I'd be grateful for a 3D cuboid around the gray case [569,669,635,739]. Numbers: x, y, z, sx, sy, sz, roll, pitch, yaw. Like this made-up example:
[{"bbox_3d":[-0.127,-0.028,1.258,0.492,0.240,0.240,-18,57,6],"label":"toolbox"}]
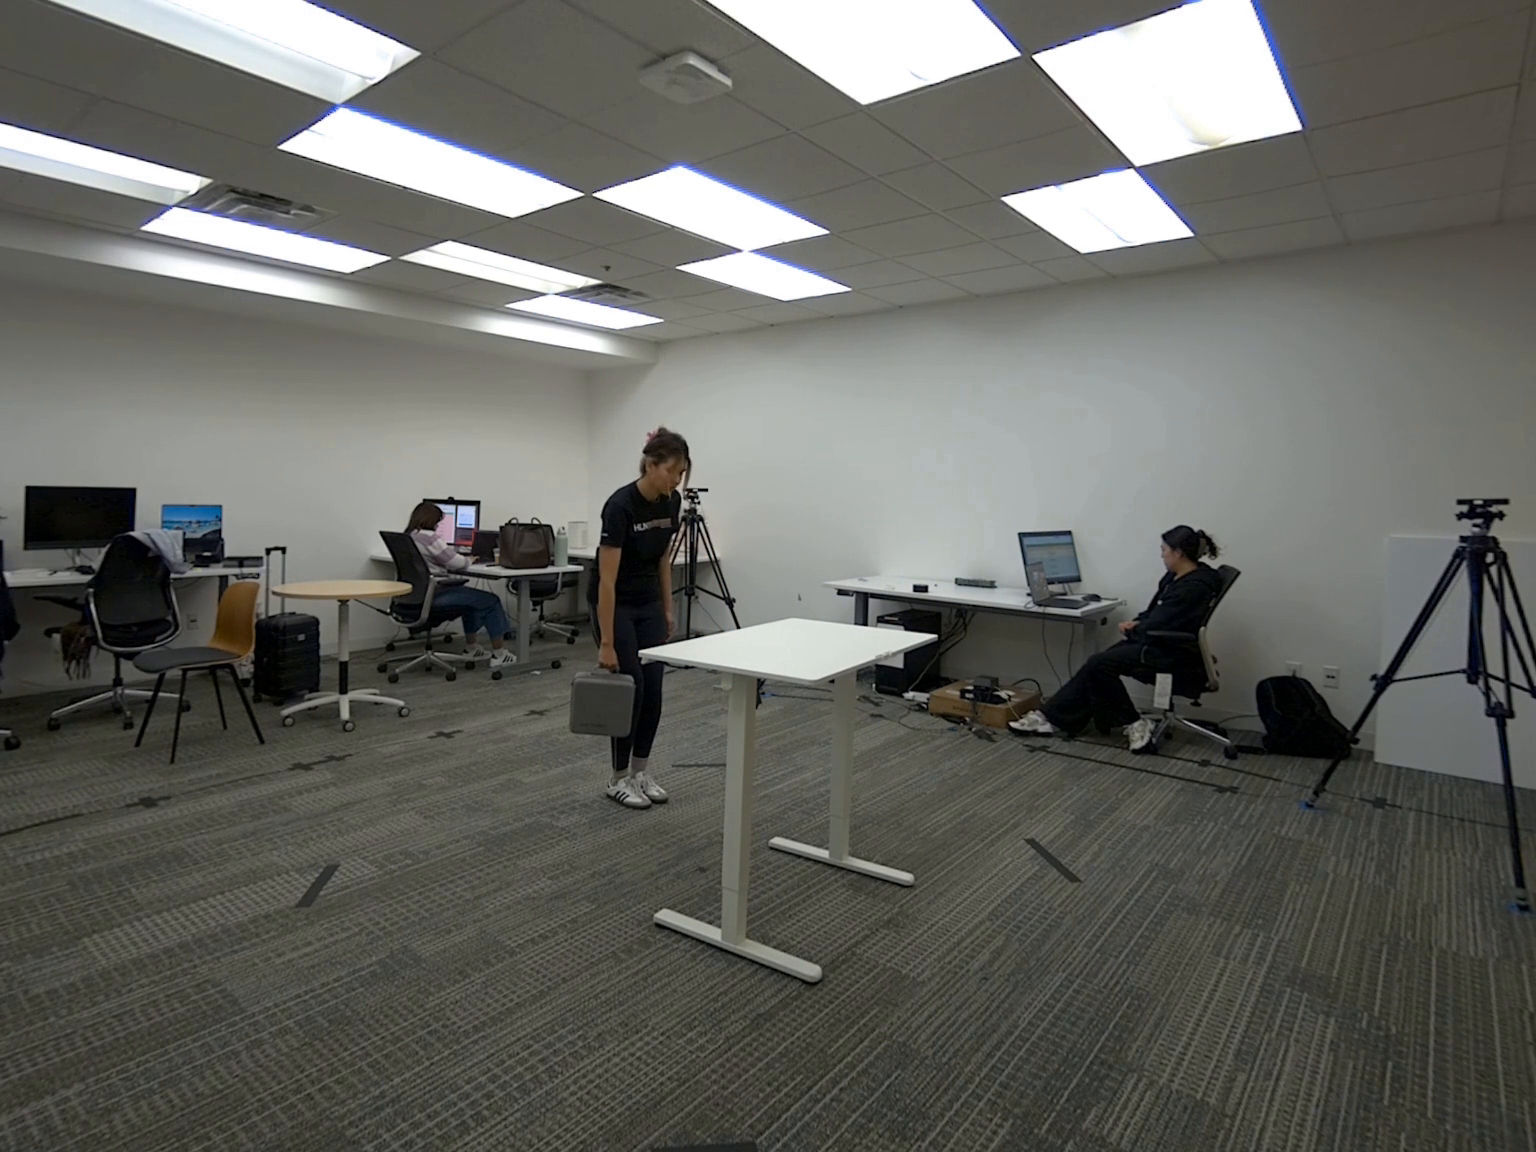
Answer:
[{"bbox_3d":[-0.710,0.534,3.547,0.255,0.258,0.106,7,14,-5],"label":"gray case"}]
